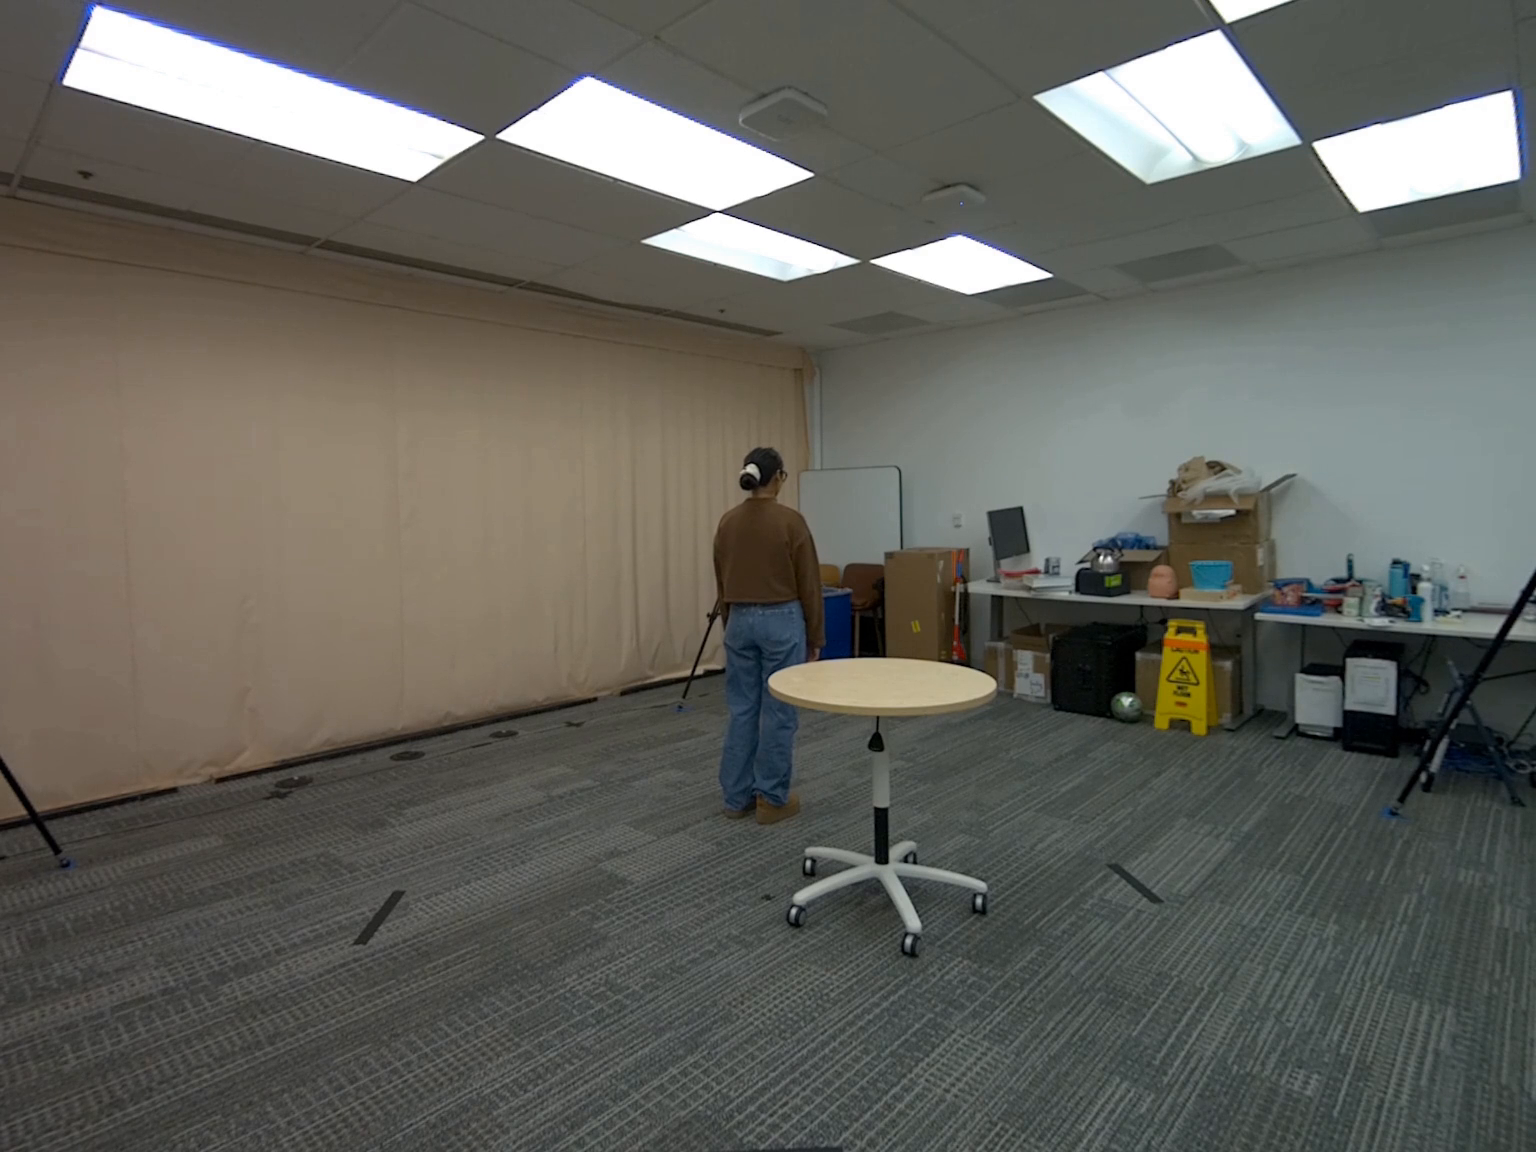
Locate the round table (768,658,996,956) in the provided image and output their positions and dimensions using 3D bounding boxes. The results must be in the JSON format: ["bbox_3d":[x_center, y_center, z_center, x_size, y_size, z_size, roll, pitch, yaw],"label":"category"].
[{"bbox_3d":[0.399,0.749,2.916,0.763,0.792,0.767,-1,4,-2],"label":"round table"}]
